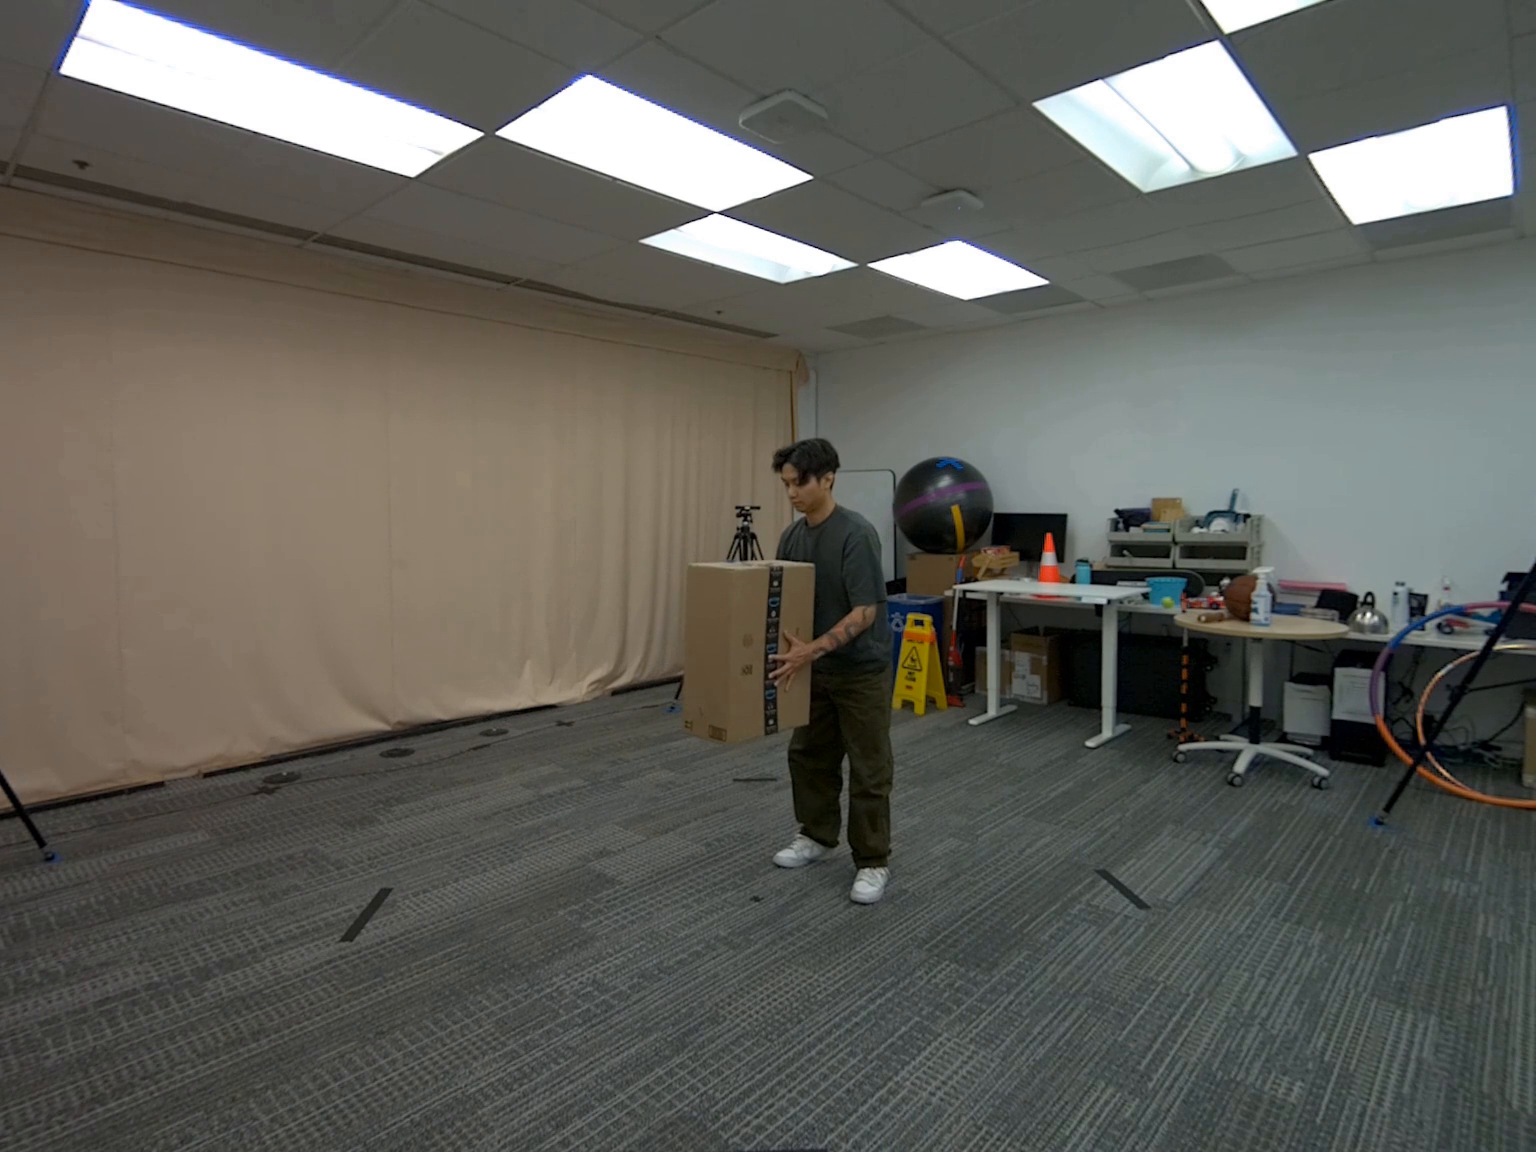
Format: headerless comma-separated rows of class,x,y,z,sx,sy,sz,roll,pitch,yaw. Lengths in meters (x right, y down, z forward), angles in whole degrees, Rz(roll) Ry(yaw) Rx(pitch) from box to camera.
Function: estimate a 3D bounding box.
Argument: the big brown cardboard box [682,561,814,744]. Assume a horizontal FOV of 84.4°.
big brown cardboard box,-0.057,0.233,2.873,0.241,0.588,0.404,3,3,44
